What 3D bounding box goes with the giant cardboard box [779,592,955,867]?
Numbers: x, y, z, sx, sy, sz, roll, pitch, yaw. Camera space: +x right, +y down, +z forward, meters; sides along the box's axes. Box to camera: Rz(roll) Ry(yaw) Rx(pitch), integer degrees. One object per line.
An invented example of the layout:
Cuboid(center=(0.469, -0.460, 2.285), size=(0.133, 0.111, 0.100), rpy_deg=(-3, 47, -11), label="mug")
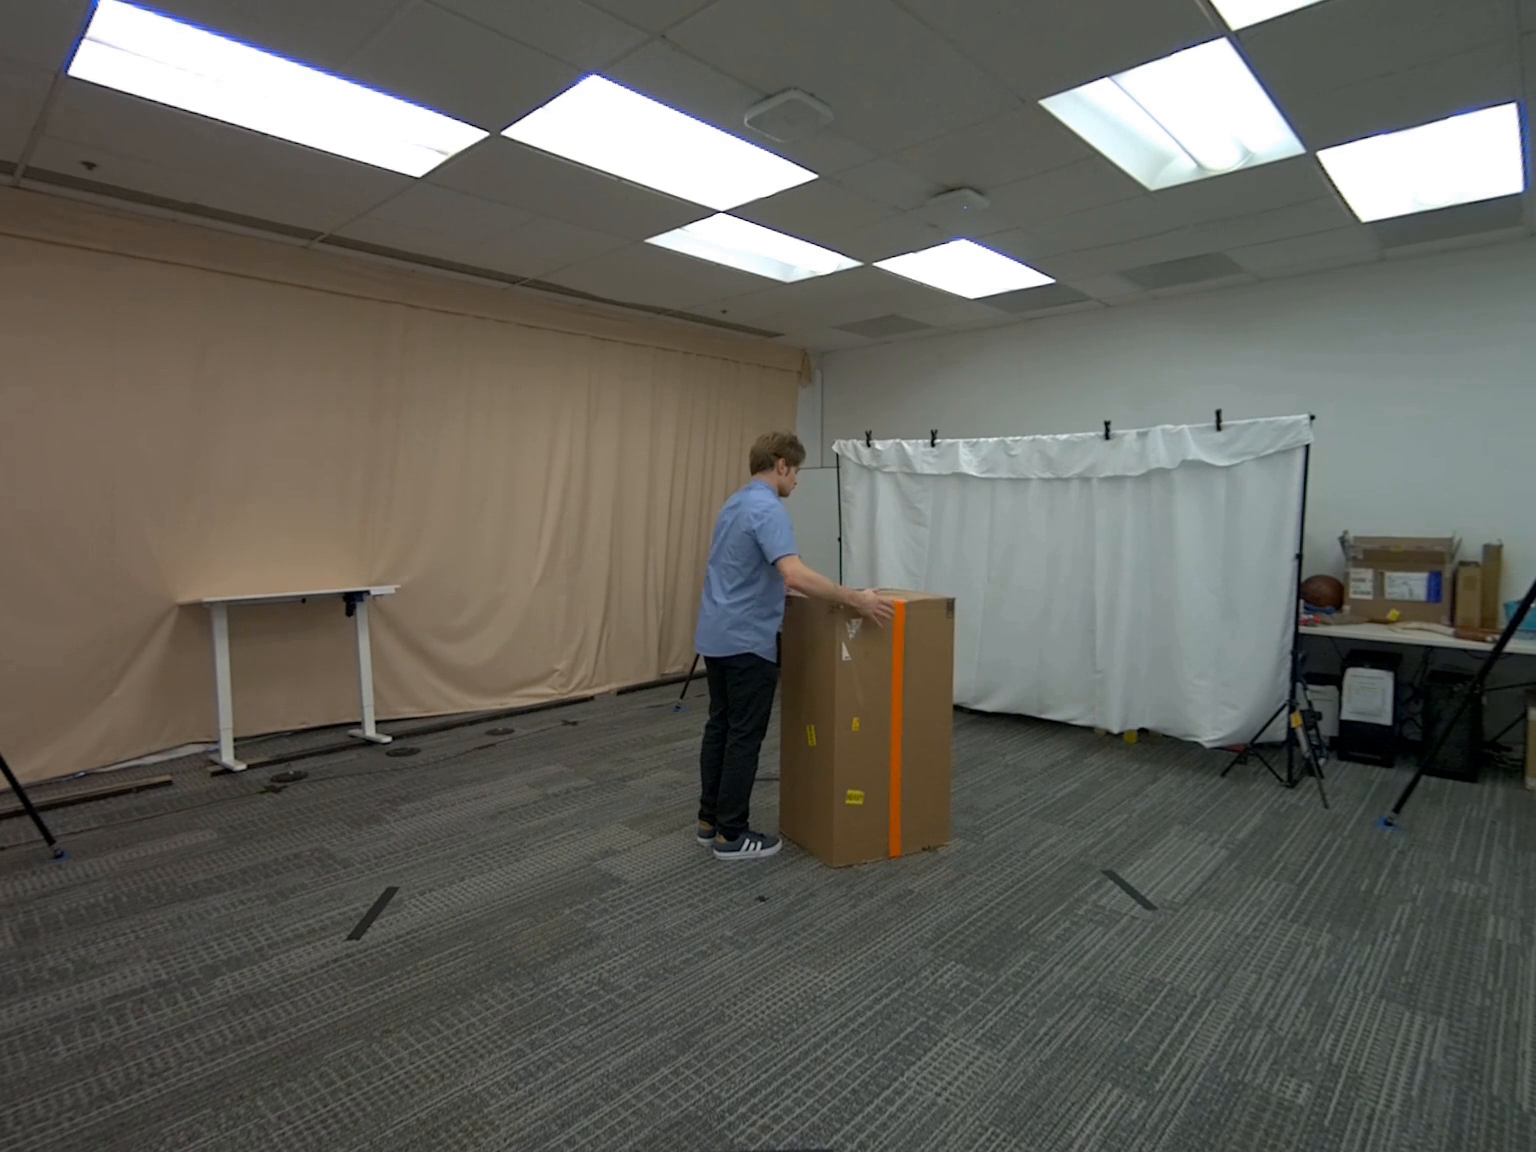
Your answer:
Cuboid(center=(0.410, 0.592, 3.508), size=(0.563, 1.024, 0.438), rpy_deg=(0, 3, -27), label="giant cardboard box")
